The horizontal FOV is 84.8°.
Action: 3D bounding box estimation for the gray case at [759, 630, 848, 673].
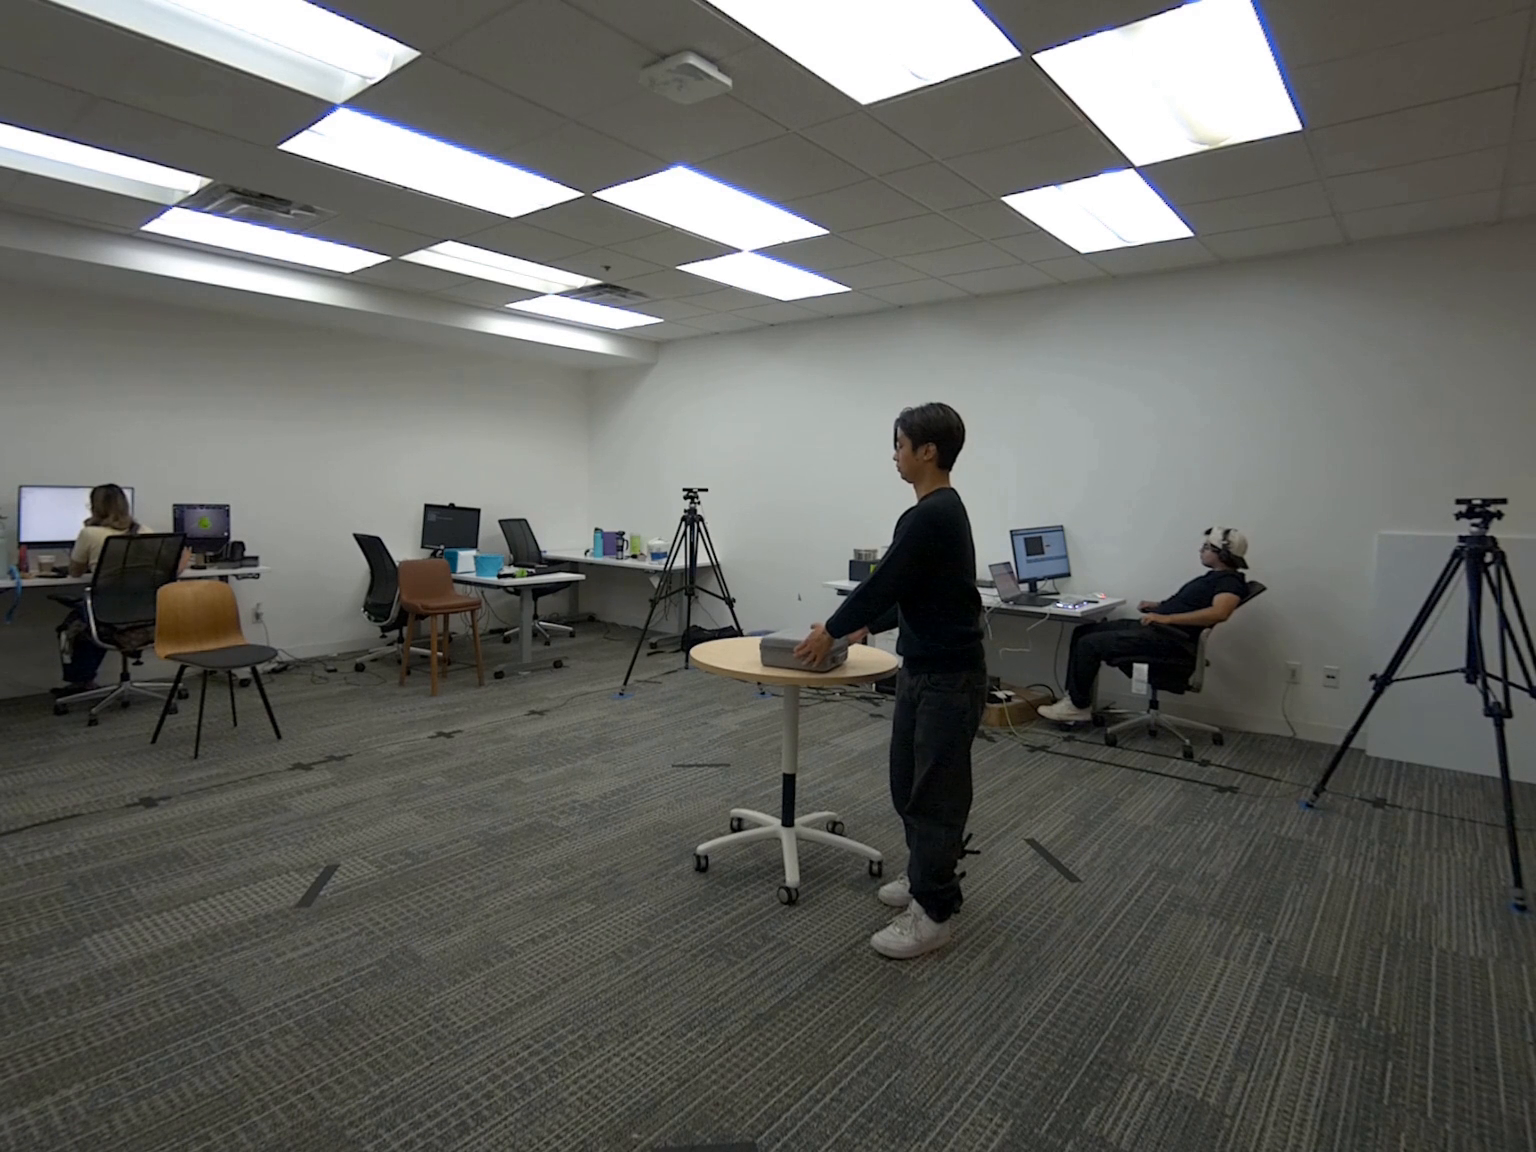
[{"bbox_3d":[0.126,0.251,2.994,0.267,0.104,0.251,3,4,23],"label":"gray case"}]
